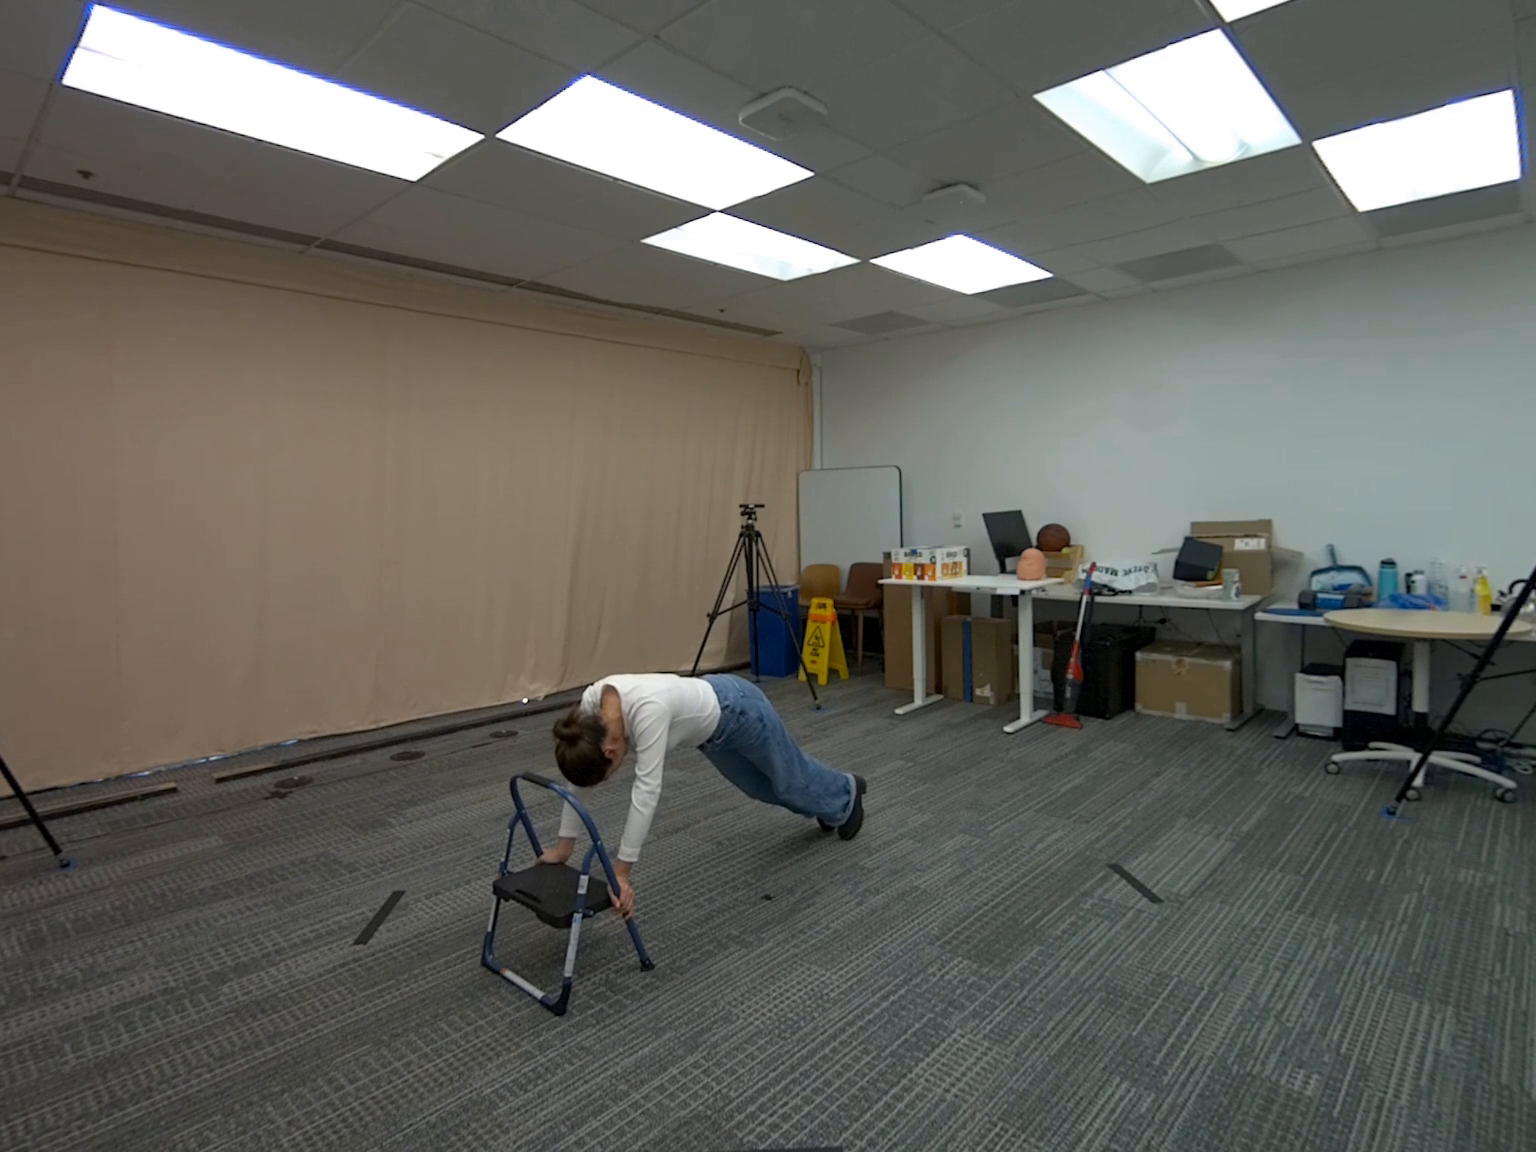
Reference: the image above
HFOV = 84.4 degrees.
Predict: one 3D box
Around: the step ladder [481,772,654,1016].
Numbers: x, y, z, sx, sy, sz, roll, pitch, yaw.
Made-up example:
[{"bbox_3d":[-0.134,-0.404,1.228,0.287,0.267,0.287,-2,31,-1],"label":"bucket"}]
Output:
[{"bbox_3d":[-0.622,0.889,2.548,0.445,0.605,0.339,2,5,41],"label":"step ladder"}]
